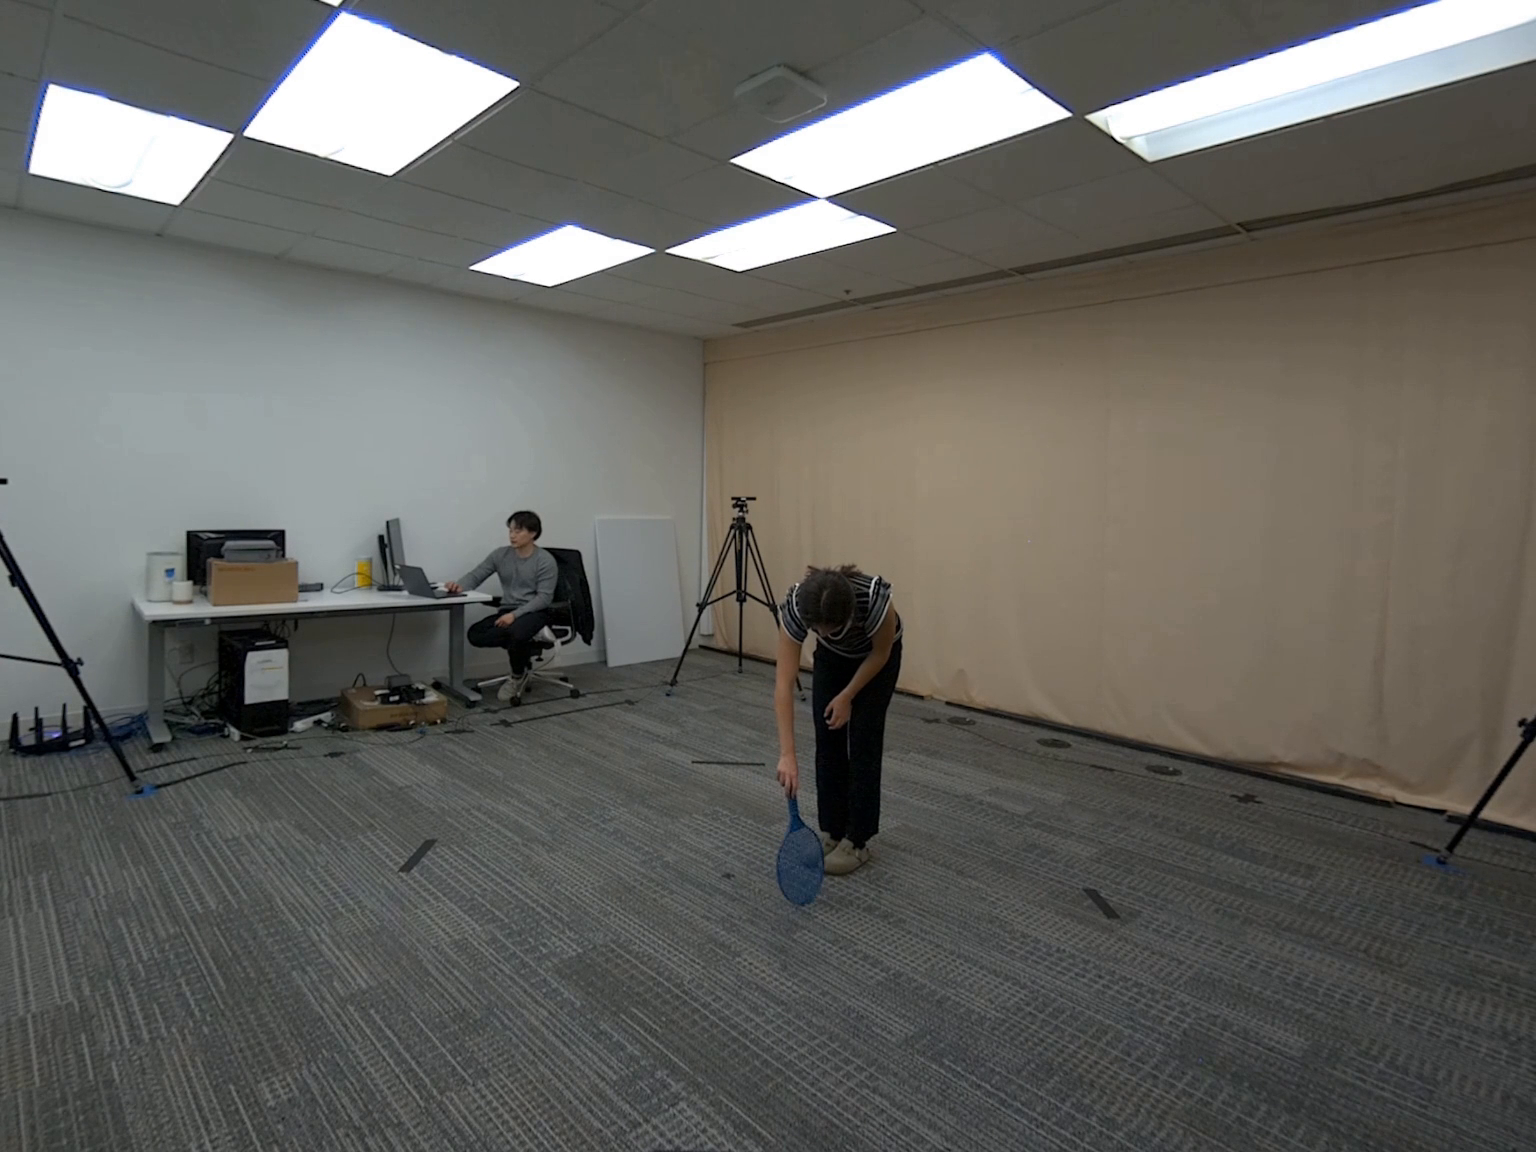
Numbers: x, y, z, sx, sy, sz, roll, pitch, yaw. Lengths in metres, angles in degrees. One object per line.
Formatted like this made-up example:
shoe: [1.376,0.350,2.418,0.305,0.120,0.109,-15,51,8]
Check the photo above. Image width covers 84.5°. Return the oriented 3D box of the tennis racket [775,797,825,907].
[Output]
tennis racket: [0.099,0.914,2.899,0.209,0.433,0.032,-7,-1,-38]
